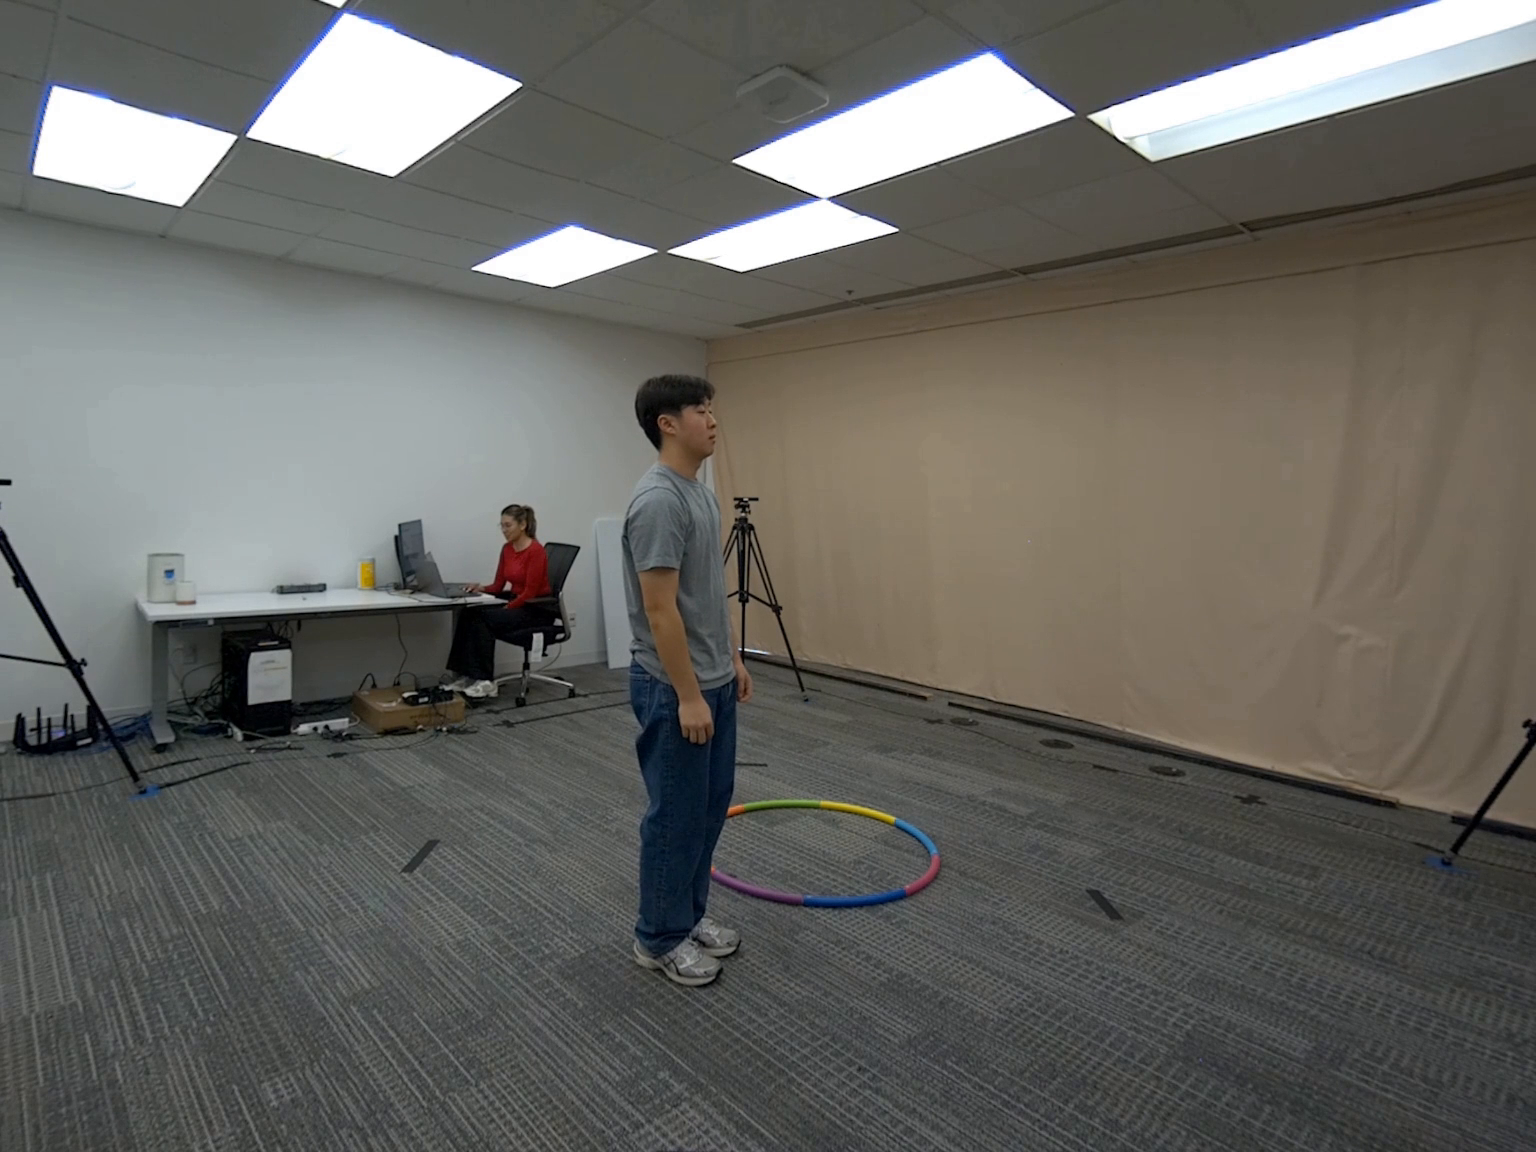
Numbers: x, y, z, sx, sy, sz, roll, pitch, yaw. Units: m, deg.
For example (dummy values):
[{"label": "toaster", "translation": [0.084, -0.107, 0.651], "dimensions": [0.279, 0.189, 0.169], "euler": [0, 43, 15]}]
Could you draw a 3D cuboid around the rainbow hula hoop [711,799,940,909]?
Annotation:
[{"label": "rainbow hula hoop", "translation": [0.160, 1.062, 3.357], "dimensions": [0.978, 0.035, 0.982], "euler": [2, 6, -1]}]
